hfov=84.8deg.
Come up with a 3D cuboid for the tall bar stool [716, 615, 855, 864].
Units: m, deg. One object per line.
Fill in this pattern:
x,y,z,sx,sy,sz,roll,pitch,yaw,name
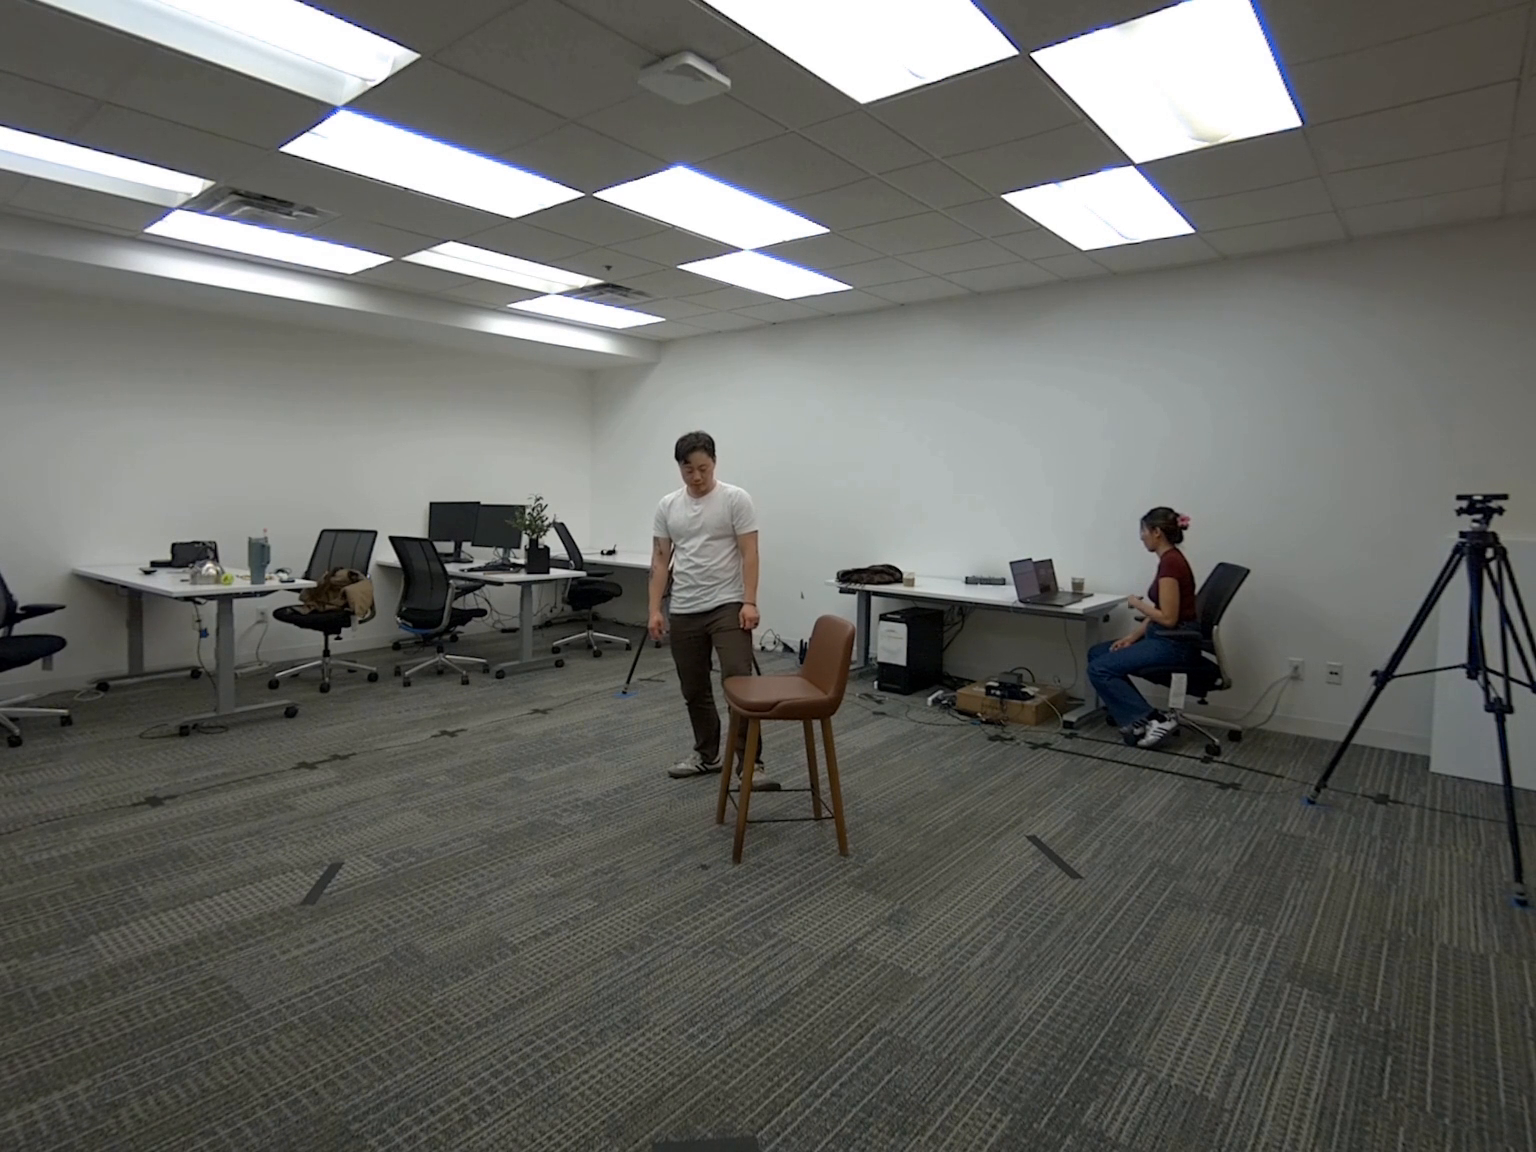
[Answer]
0.054,0.609,3.359,0.462,0.888,0.463,2,3,-12,tall bar stool
